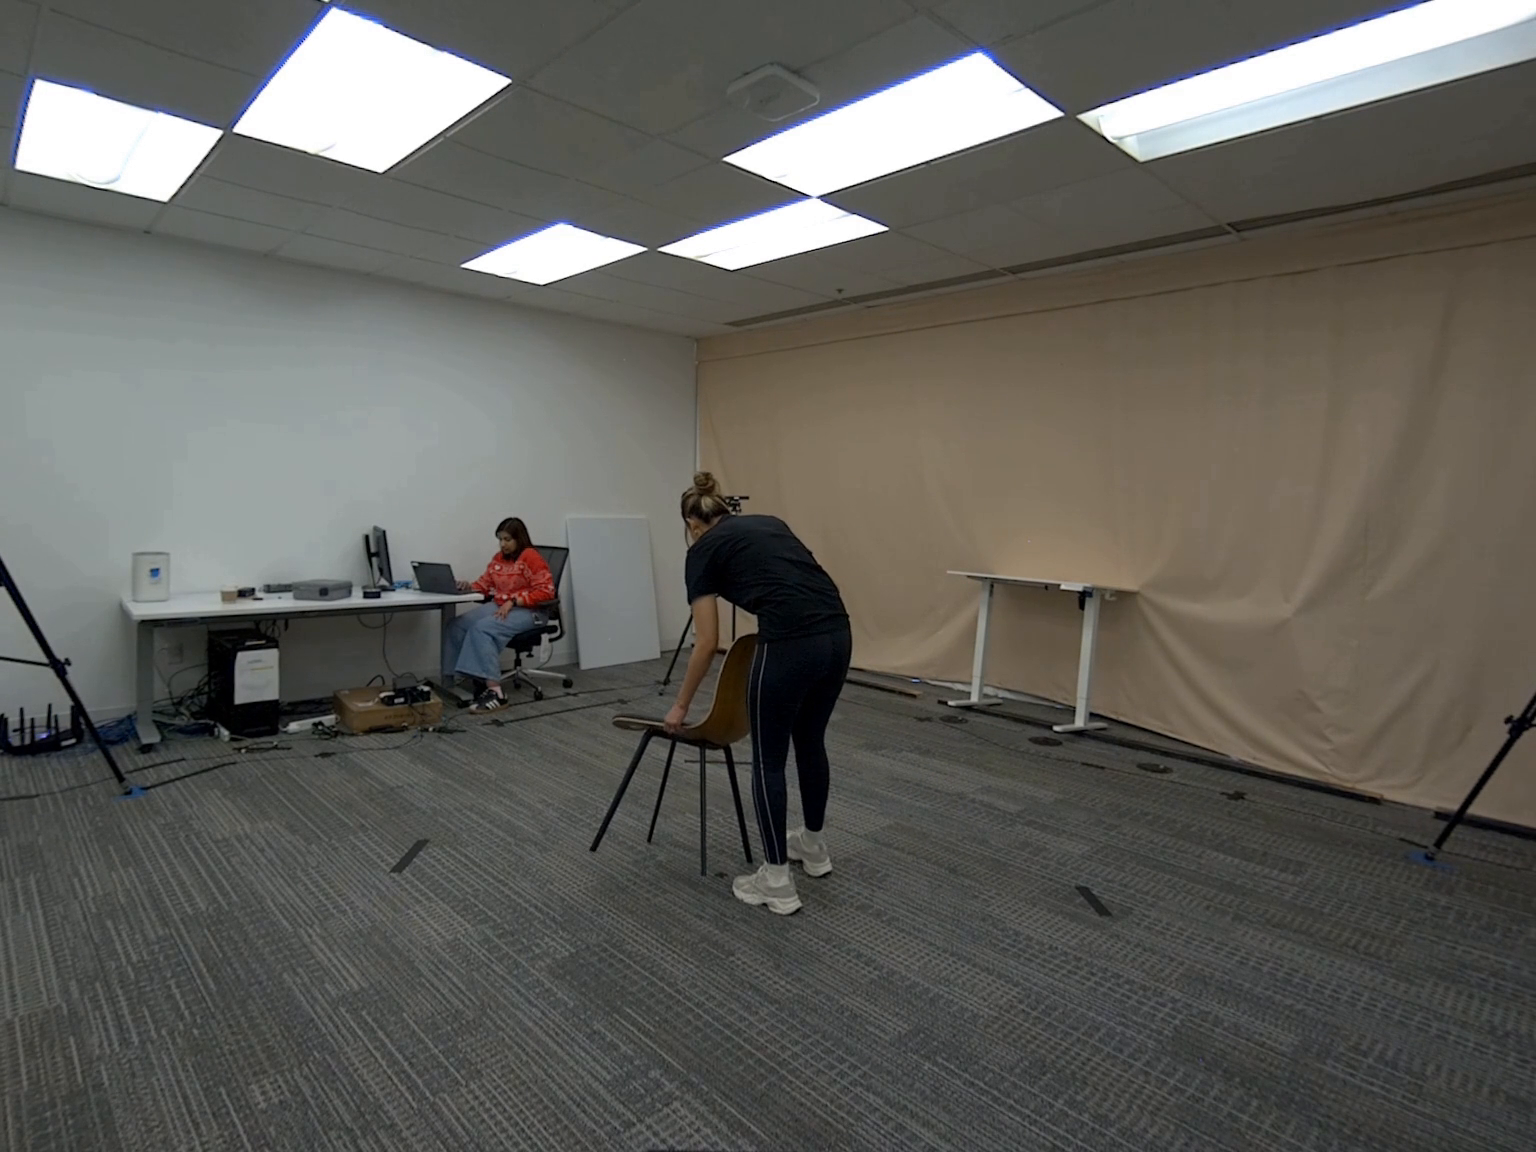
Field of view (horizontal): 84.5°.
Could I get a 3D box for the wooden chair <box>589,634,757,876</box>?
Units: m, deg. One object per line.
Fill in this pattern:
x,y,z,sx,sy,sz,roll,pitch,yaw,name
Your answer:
-0.308,0.624,3.170,0.533,0.882,0.466,7,-9,22,wooden chair
